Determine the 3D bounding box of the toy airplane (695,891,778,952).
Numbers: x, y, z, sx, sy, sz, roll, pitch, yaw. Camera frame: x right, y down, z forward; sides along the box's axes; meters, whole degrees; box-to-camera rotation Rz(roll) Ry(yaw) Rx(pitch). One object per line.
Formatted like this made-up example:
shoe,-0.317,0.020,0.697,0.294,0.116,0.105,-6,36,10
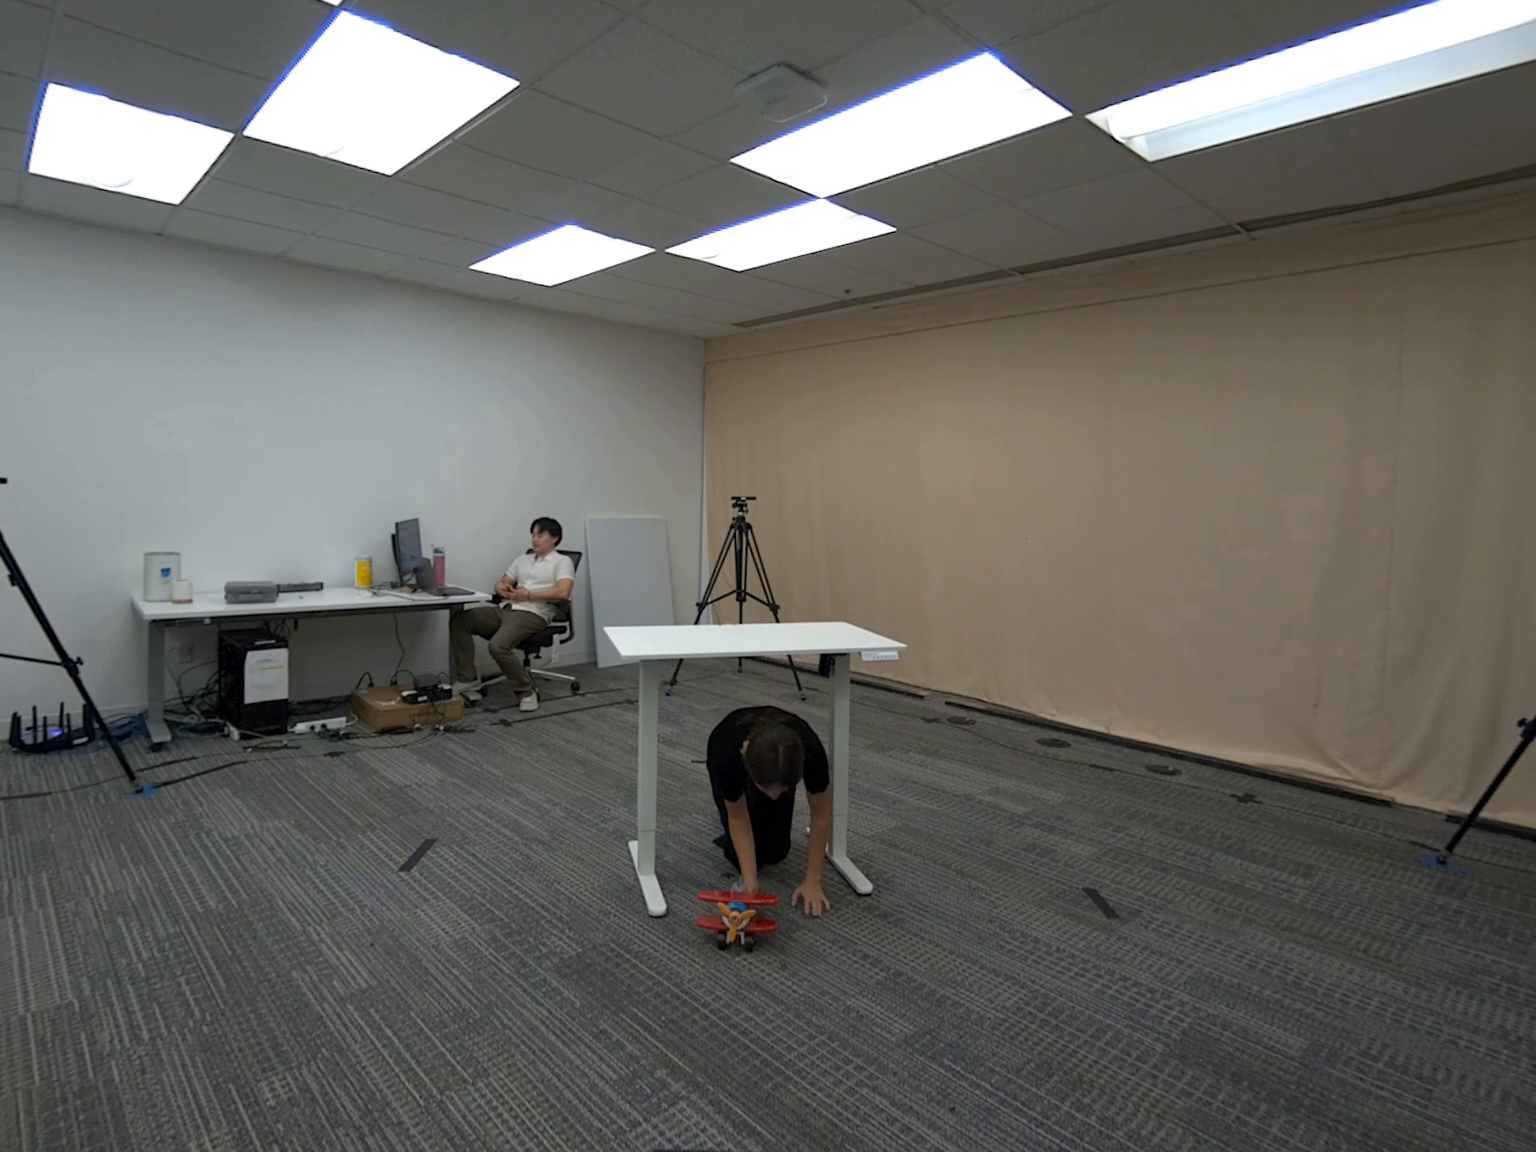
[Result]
toy airplane,-0.126,1.065,2.676,0.247,0.155,0.265,-2,9,-25
